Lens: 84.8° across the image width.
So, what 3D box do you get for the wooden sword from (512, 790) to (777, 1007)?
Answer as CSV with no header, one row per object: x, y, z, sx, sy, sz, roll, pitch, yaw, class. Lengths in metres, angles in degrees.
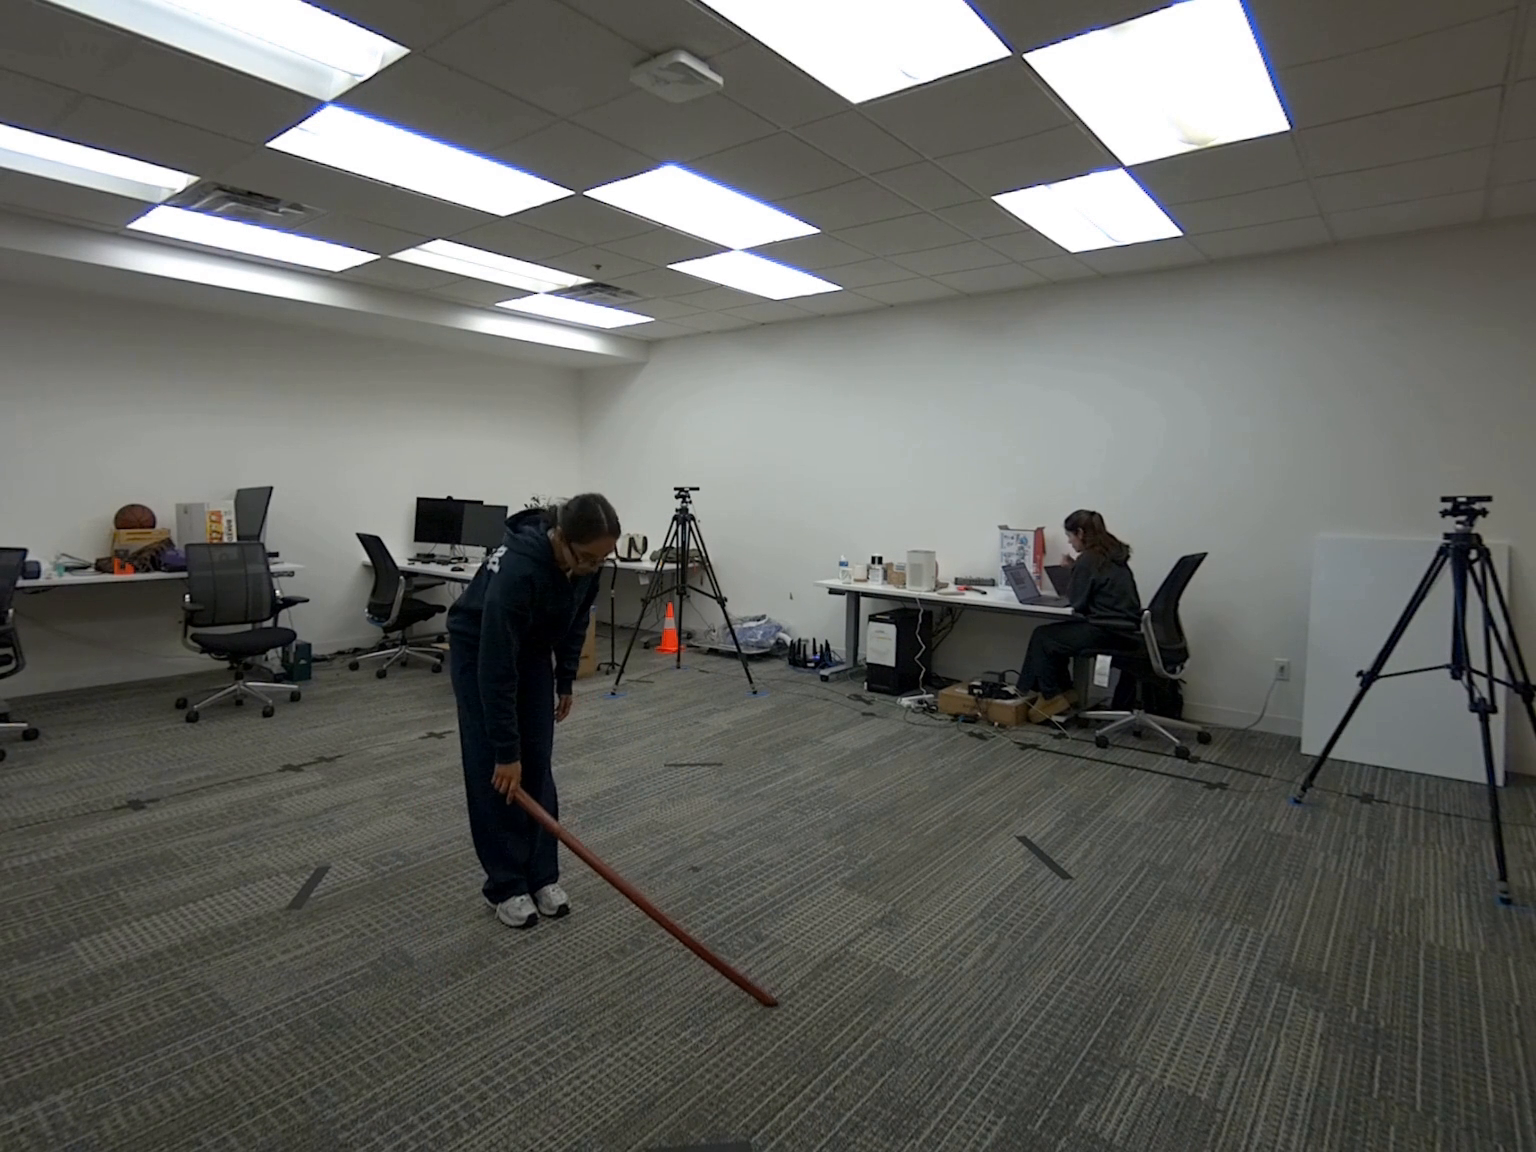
-0.433,0.877,2.435,1.049,0.024,0.050,33,15,17,wooden sword
